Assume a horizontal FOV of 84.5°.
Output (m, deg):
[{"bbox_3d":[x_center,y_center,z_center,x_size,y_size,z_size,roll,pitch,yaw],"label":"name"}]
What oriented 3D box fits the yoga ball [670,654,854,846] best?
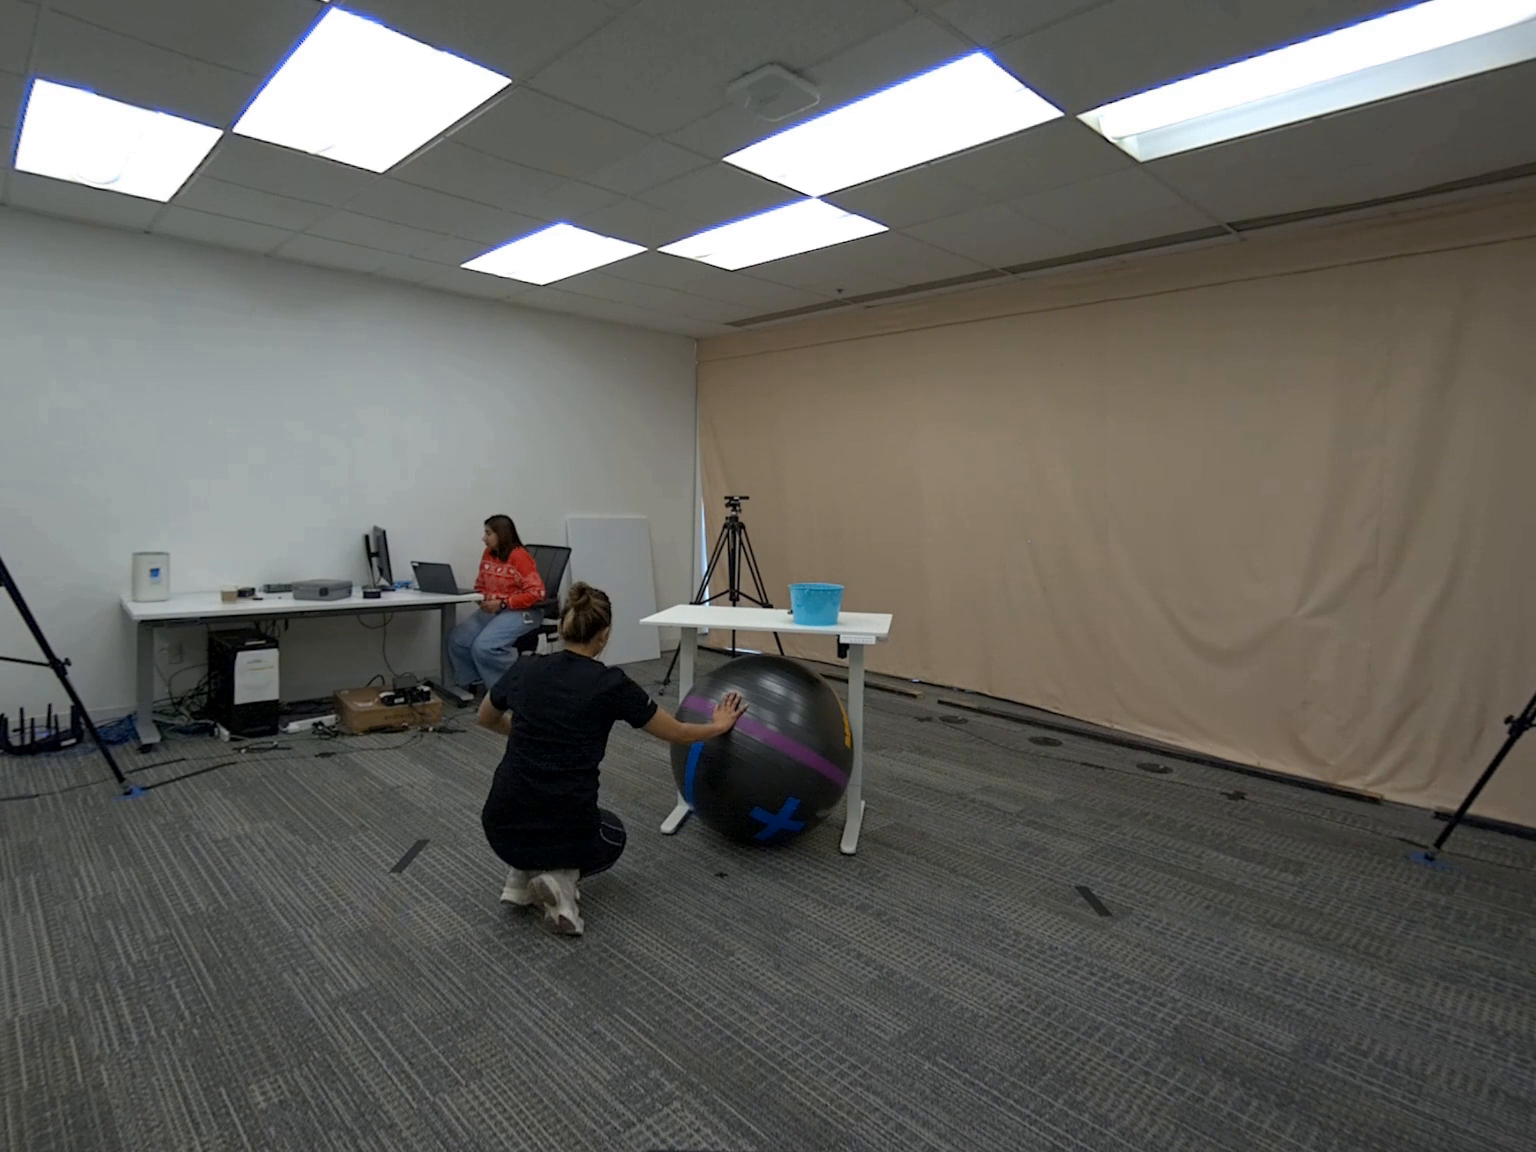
[{"bbox_3d":[-0.028,0.724,3.475,0.757,0.756,0.761,1,4,-1],"label":"yoga ball"}]
